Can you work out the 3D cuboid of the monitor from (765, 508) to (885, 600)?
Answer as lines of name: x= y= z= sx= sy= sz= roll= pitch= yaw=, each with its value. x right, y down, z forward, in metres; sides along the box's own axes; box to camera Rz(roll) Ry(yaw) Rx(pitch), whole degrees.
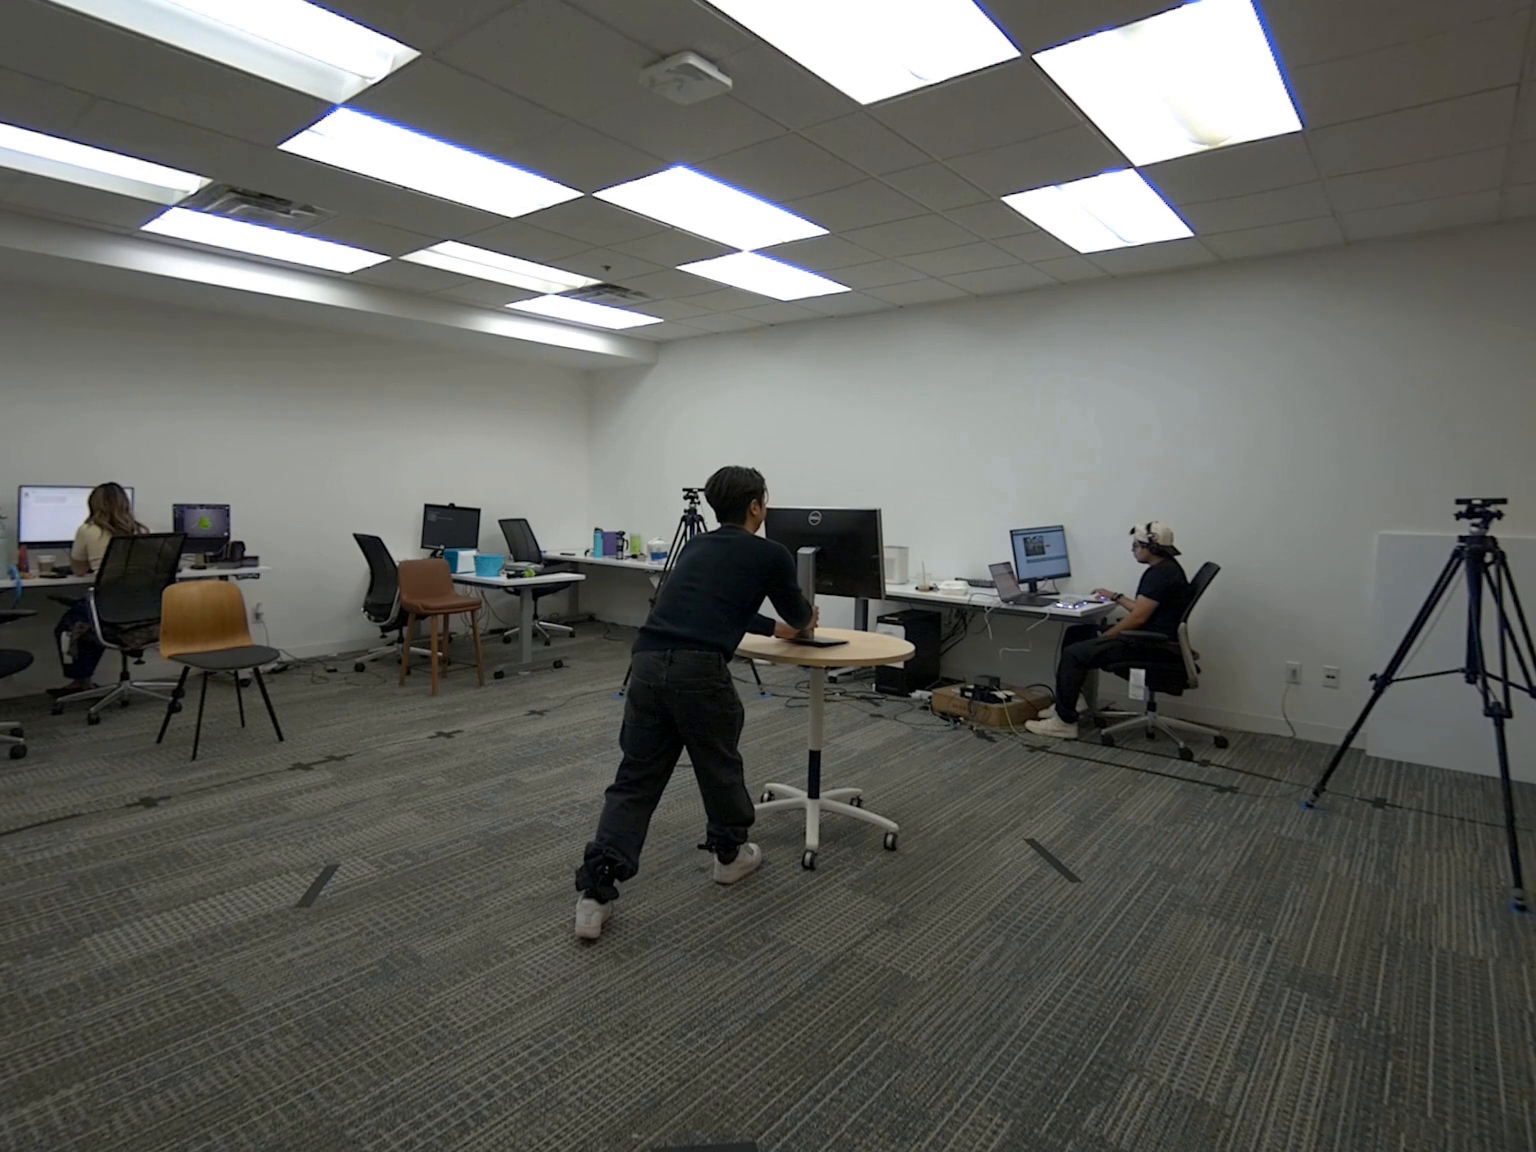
monitor: x=0.186 y=-0.009 z=3.443 sx=0.557 sy=0.523 sz=0.181 roll=3 pitch=0 yaw=37
